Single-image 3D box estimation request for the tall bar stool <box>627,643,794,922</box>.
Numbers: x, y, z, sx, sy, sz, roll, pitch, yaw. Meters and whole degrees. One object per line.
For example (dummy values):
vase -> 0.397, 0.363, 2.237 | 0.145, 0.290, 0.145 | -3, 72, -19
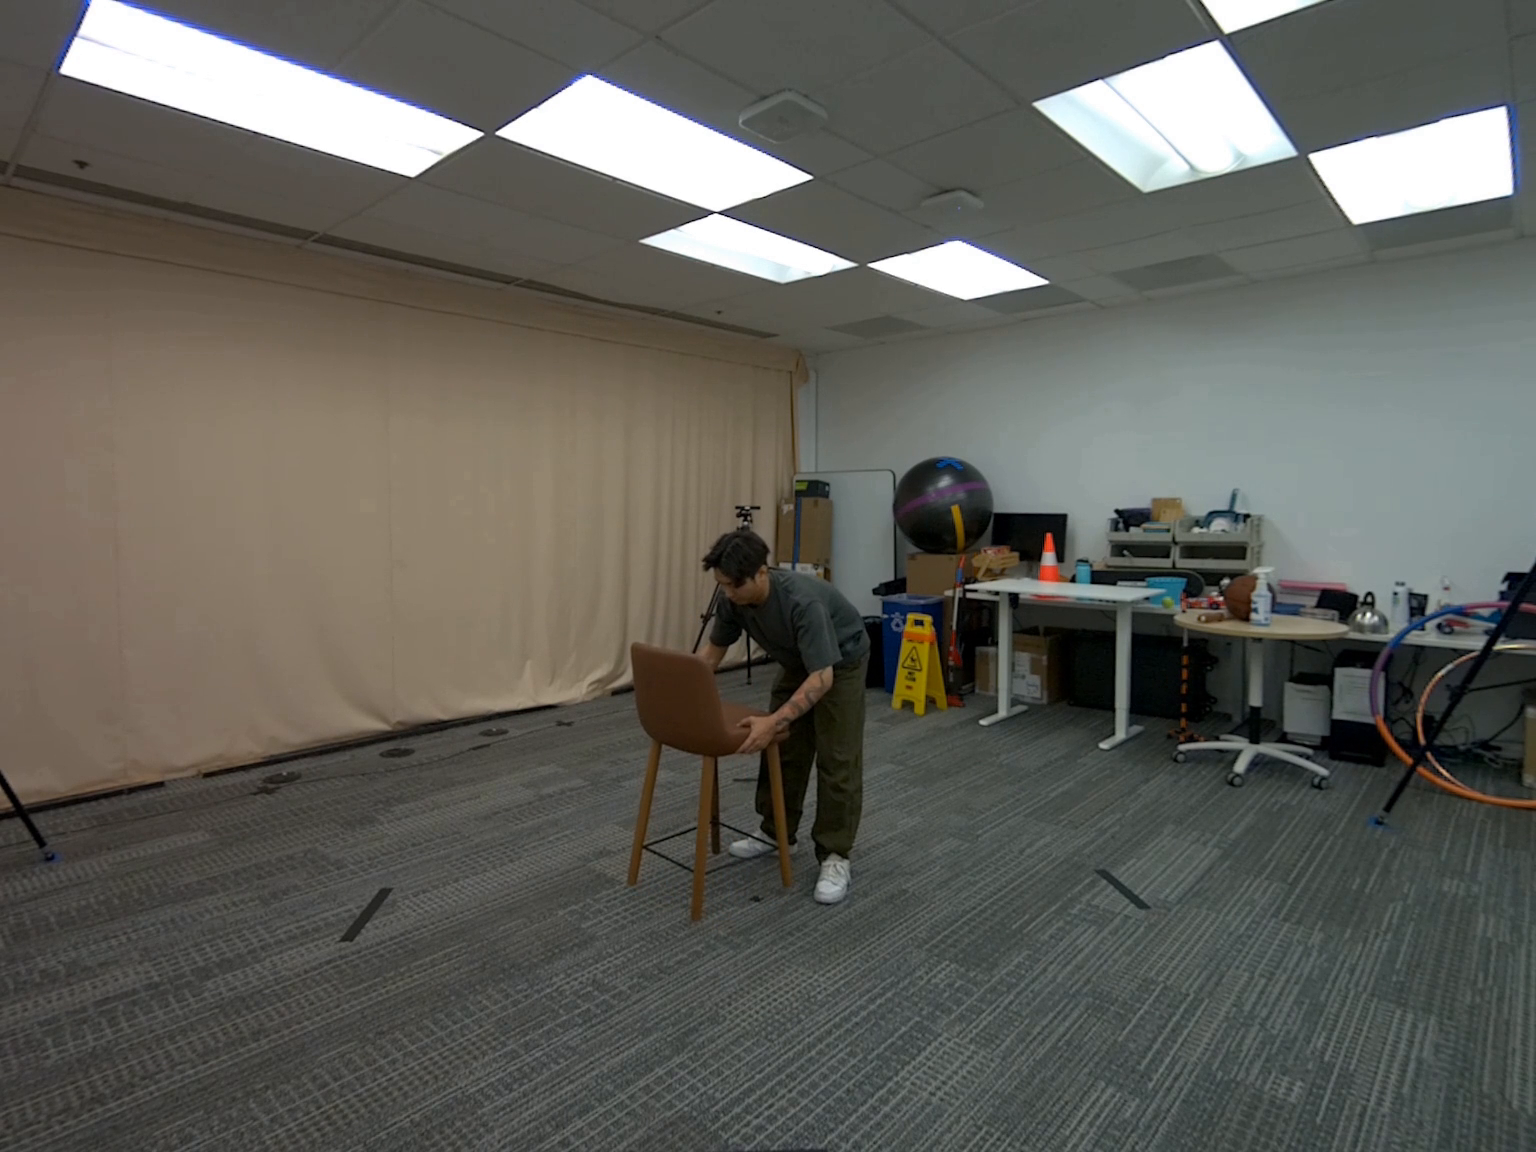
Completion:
tall bar stool -> -0.201, 0.670, 2.985 | 0.453, 0.888, 0.472 | -3, 4, -44
